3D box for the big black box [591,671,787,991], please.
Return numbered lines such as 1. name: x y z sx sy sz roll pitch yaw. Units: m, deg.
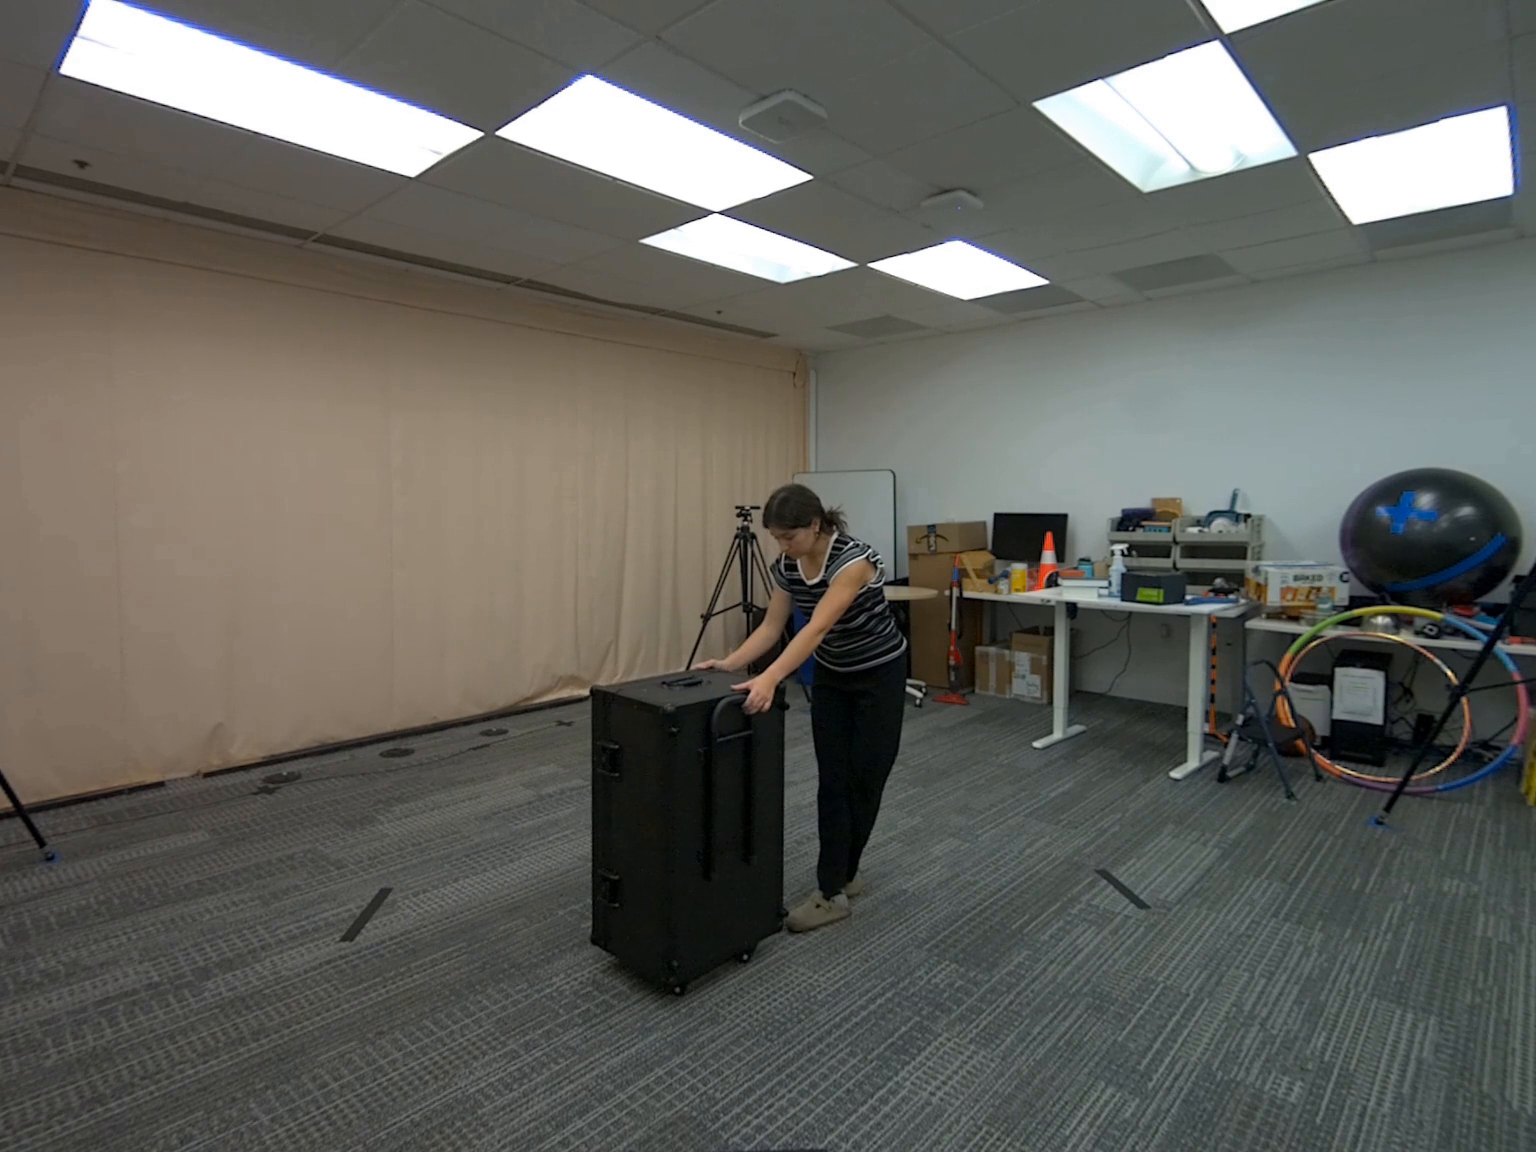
1. big black box: -0.226 0.760 2.565 0.410 0.859 0.505 5 5 43
